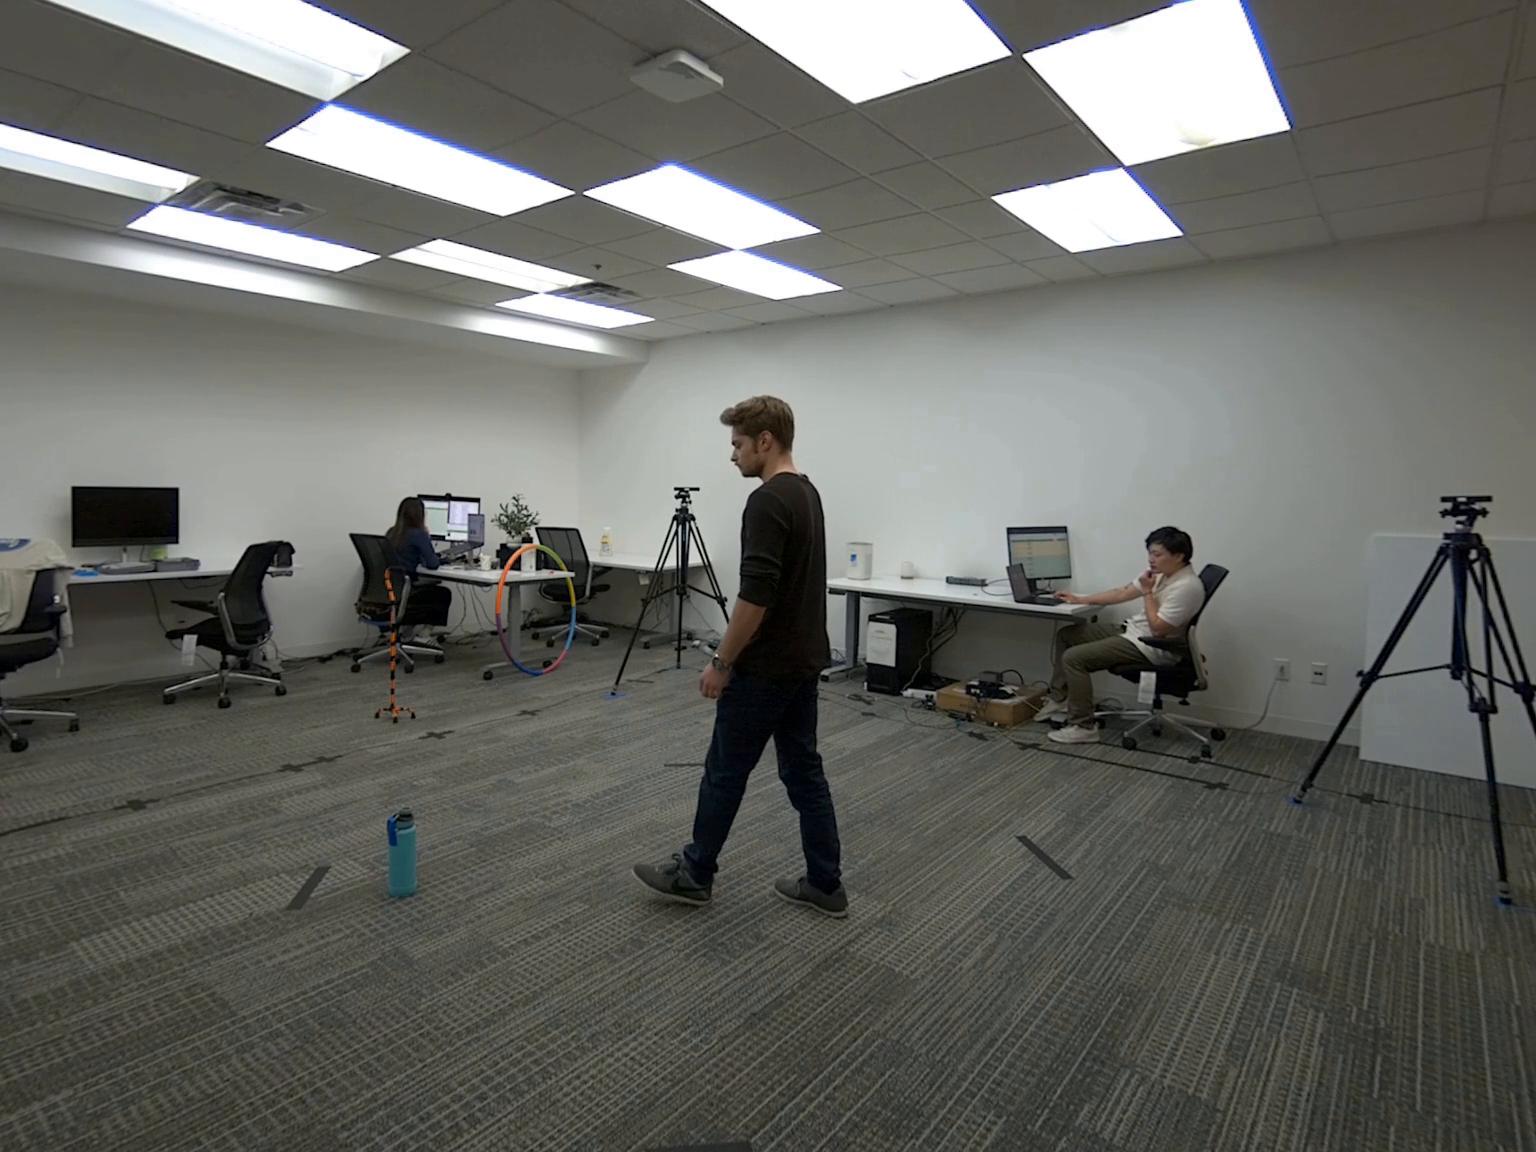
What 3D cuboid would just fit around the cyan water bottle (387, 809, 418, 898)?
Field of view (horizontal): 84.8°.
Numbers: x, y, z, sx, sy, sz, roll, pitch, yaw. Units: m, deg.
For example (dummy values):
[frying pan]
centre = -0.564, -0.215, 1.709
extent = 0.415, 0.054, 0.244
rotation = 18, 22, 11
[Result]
[cyan water bottle]
centre = -1.264, 0.937, 2.892
extent = 0.092, 0.282, 0.093
rotation = -1, 4, -2
